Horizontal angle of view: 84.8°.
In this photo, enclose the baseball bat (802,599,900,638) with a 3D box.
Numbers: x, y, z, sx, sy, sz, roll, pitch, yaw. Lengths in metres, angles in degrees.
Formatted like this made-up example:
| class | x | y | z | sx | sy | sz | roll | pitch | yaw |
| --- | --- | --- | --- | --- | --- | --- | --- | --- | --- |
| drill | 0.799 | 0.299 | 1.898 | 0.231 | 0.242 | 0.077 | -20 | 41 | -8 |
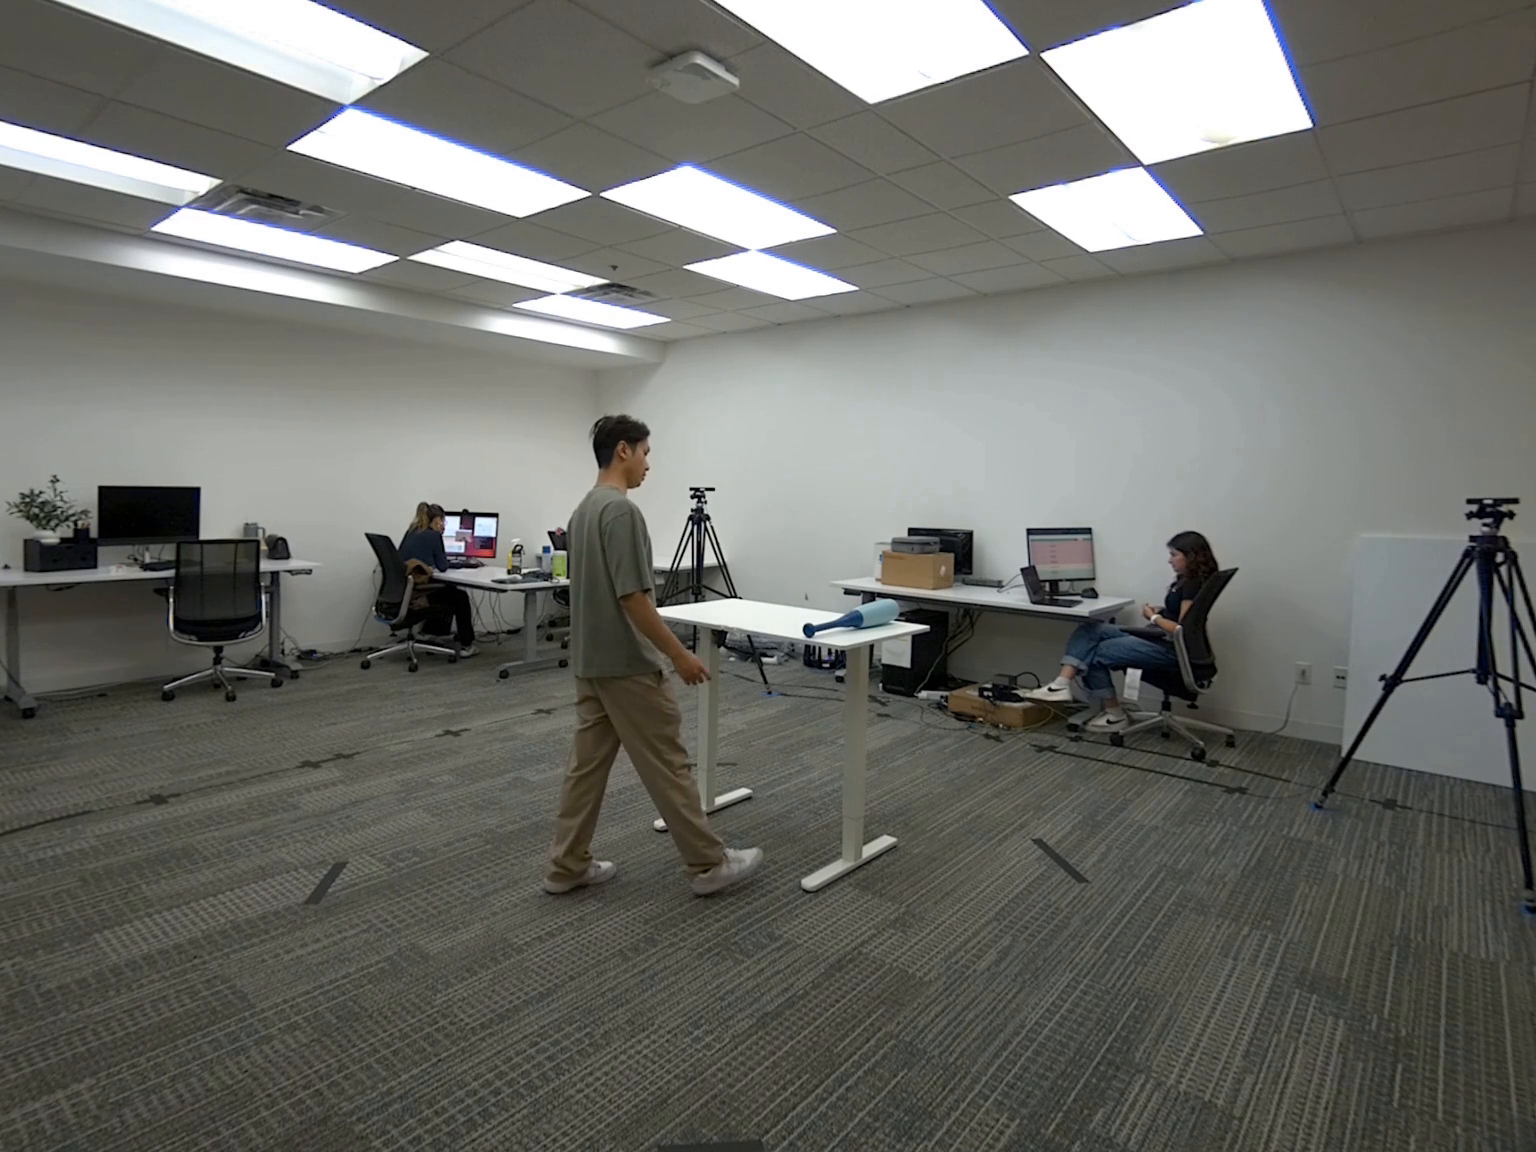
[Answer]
| class | x | y | z | sx | sy | sz | roll | pitch | yaw |
| --- | --- | --- | --- | --- | --- | --- | --- | --- | --- |
| baseball bat | 0.307 | 0.162 | 3.124 | 0.092 | 0.088 | 0.528 | 4 | 10 | 41 |
